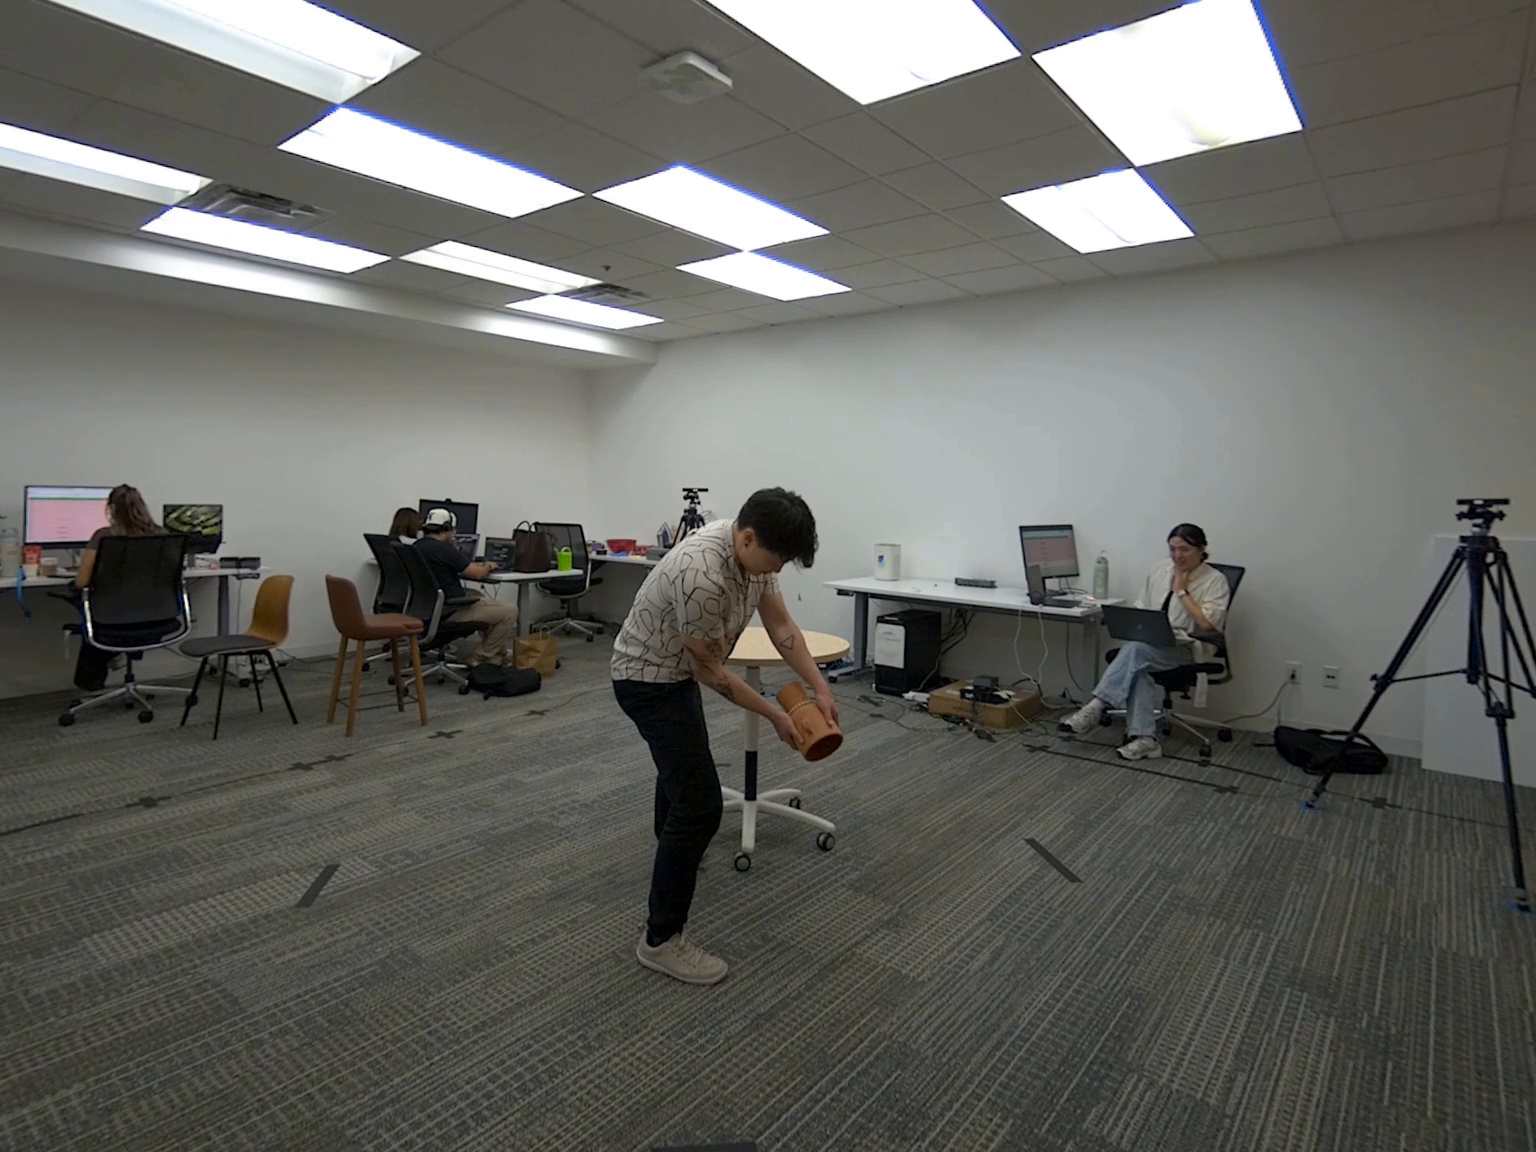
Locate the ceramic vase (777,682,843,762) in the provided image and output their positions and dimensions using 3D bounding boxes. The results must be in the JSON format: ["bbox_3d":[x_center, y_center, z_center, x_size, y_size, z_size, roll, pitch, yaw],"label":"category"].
[{"bbox_3d":[0.108,0.434,2.554,0.131,0.156,0.229,-6,45,-29],"label":"ceramic vase"}]
